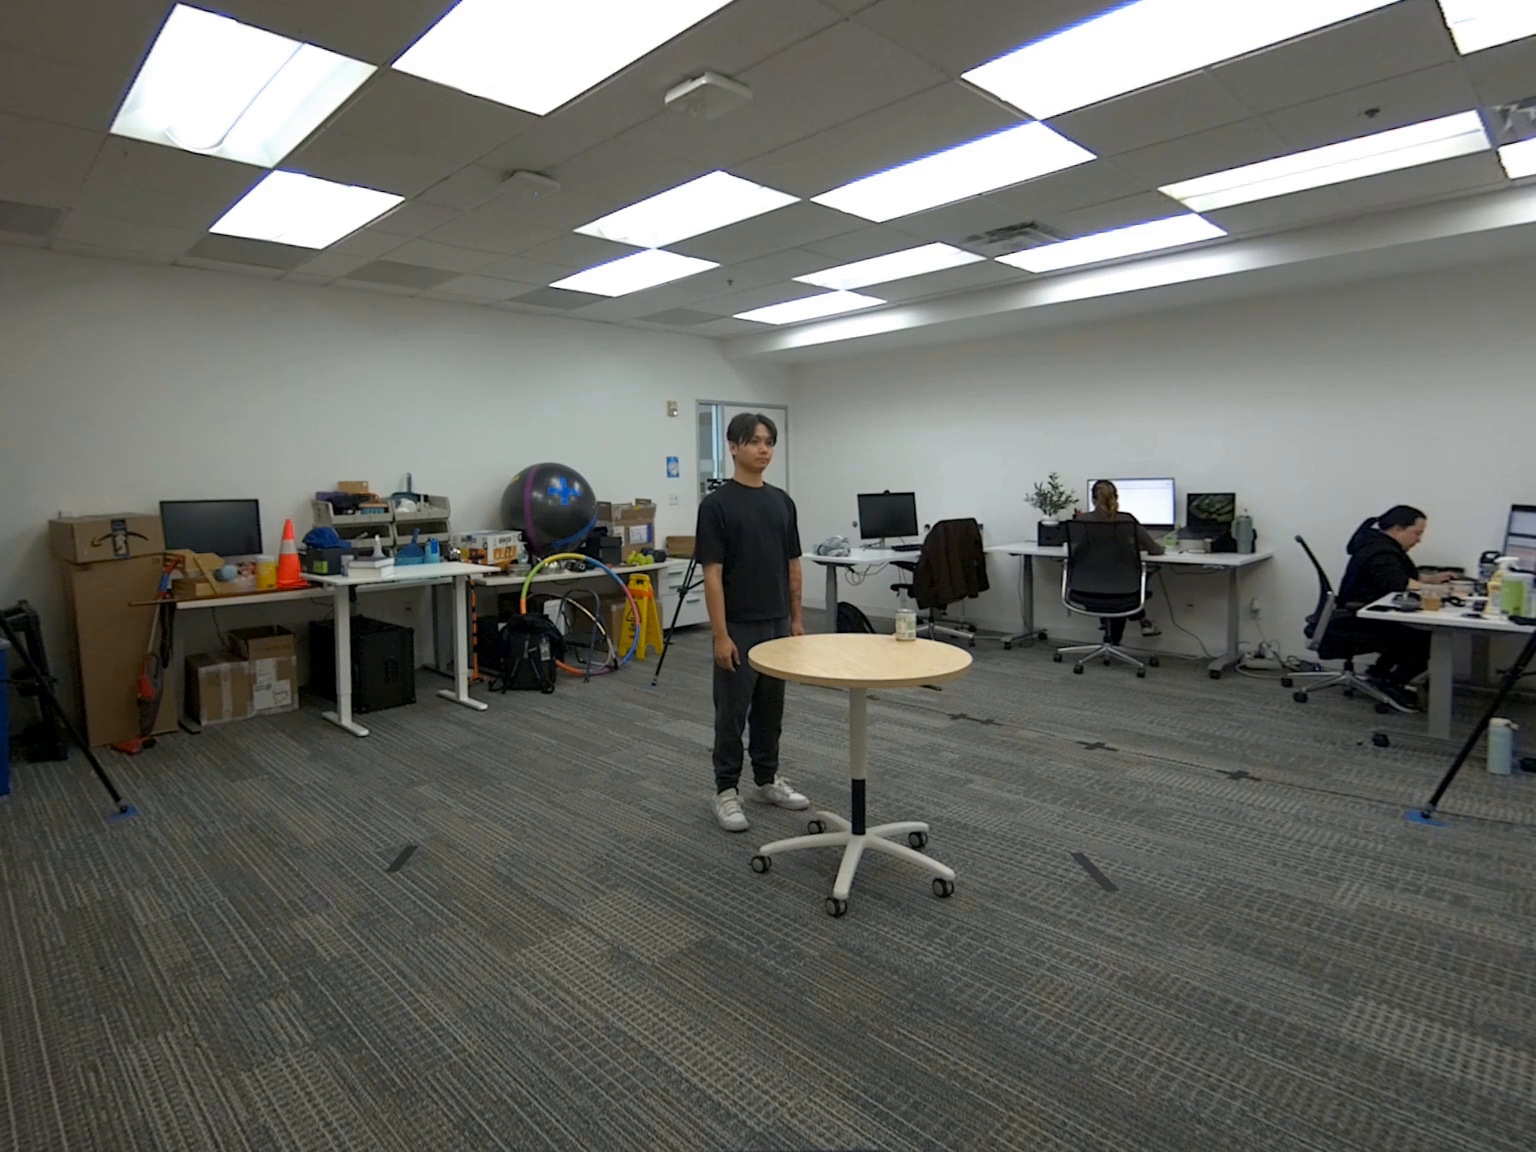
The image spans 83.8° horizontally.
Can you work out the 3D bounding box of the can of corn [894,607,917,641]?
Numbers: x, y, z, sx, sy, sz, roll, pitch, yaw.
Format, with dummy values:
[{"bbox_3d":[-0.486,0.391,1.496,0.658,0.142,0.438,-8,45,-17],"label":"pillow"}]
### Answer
[{"bbox_3d":[0.525,0.183,3.217,0.074,0.111,0.074,-3,2,-2],"label":"can of corn"}]
